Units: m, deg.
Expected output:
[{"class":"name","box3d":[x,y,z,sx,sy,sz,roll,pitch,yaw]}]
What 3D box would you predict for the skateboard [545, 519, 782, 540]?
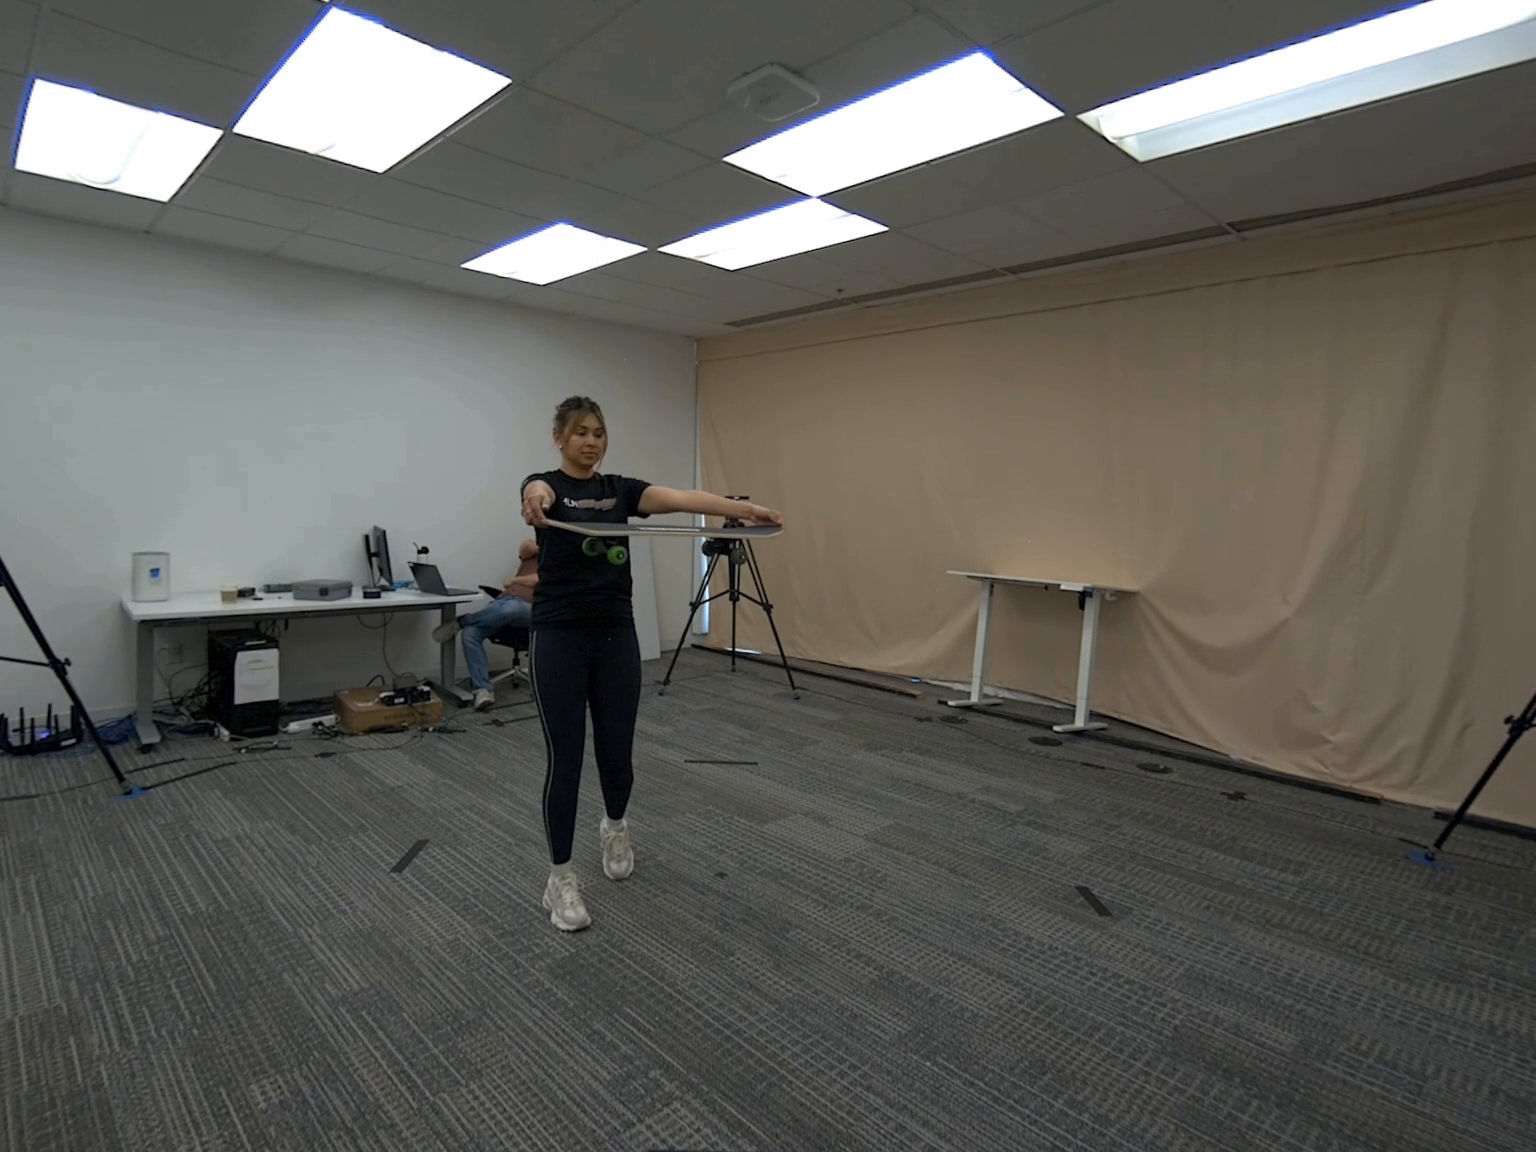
[{"class":"skateboard","box3d":[-0.288,-0.100,2.384,0.768,0.110,0.199,-1,11,-37]}]
